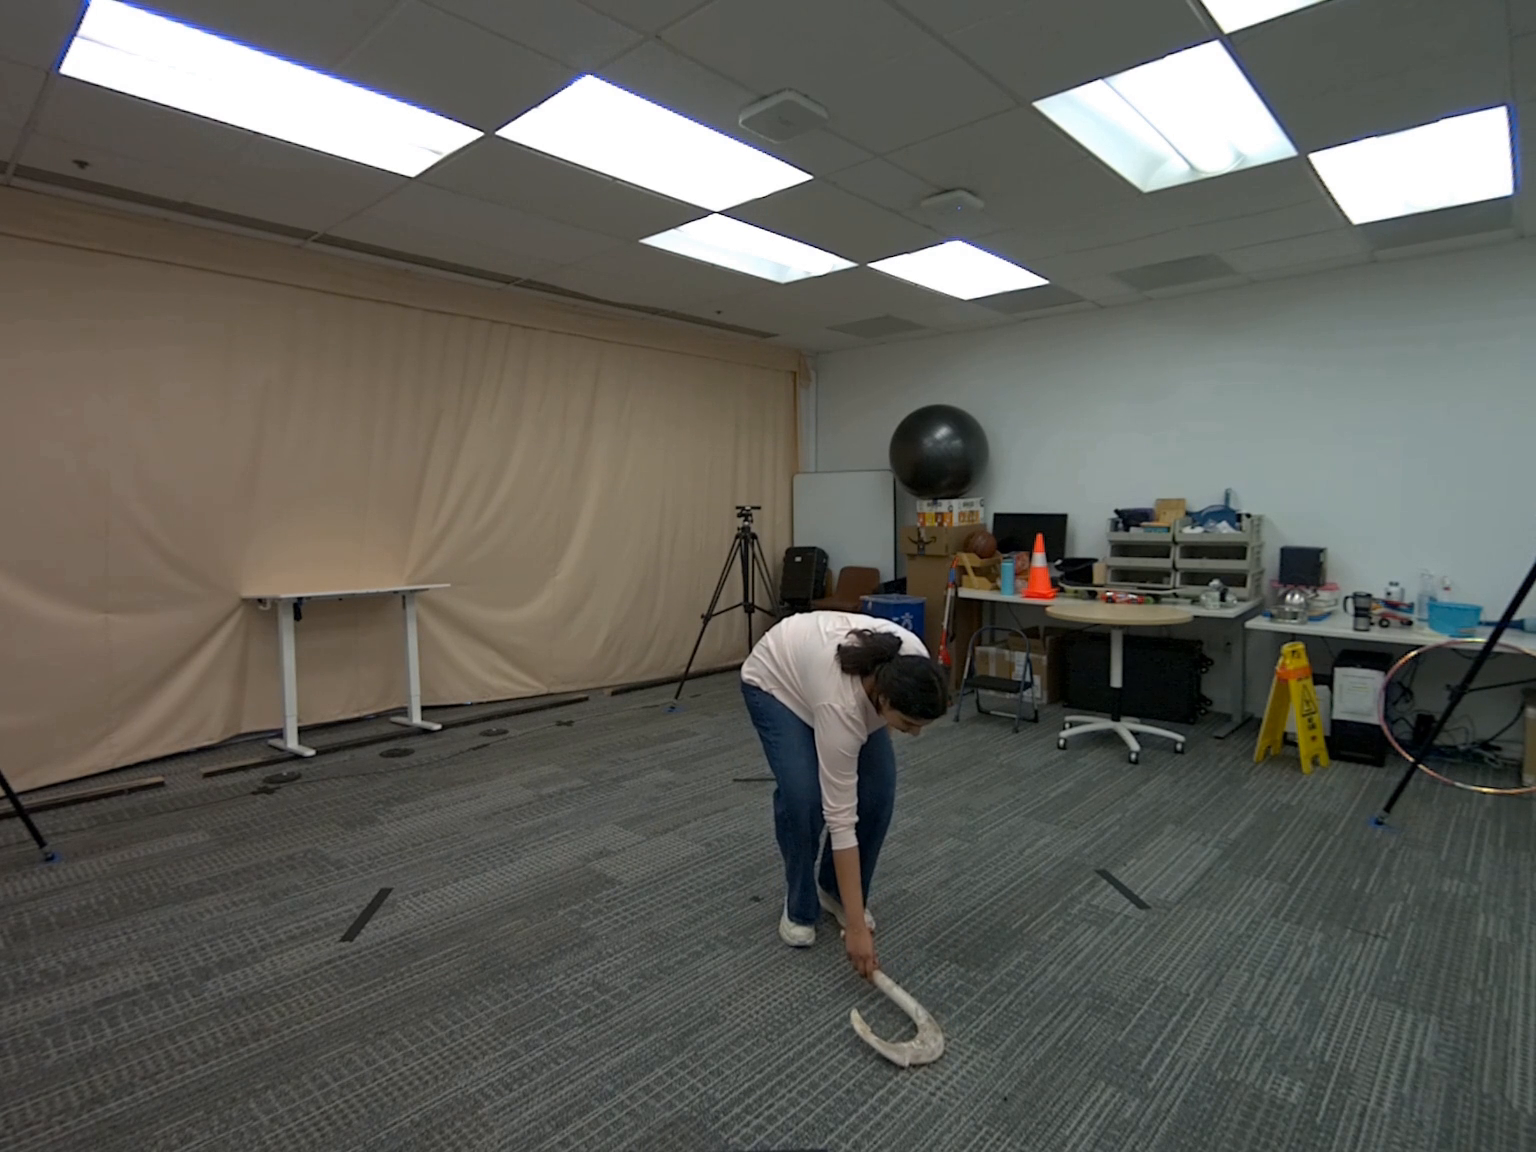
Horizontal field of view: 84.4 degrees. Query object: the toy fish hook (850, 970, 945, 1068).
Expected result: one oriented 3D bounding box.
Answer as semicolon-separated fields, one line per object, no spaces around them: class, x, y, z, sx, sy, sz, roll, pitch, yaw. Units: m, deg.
toy fish hook;0.287;1.135;2.316;0.220;0.048;0.520;4;12;-22
